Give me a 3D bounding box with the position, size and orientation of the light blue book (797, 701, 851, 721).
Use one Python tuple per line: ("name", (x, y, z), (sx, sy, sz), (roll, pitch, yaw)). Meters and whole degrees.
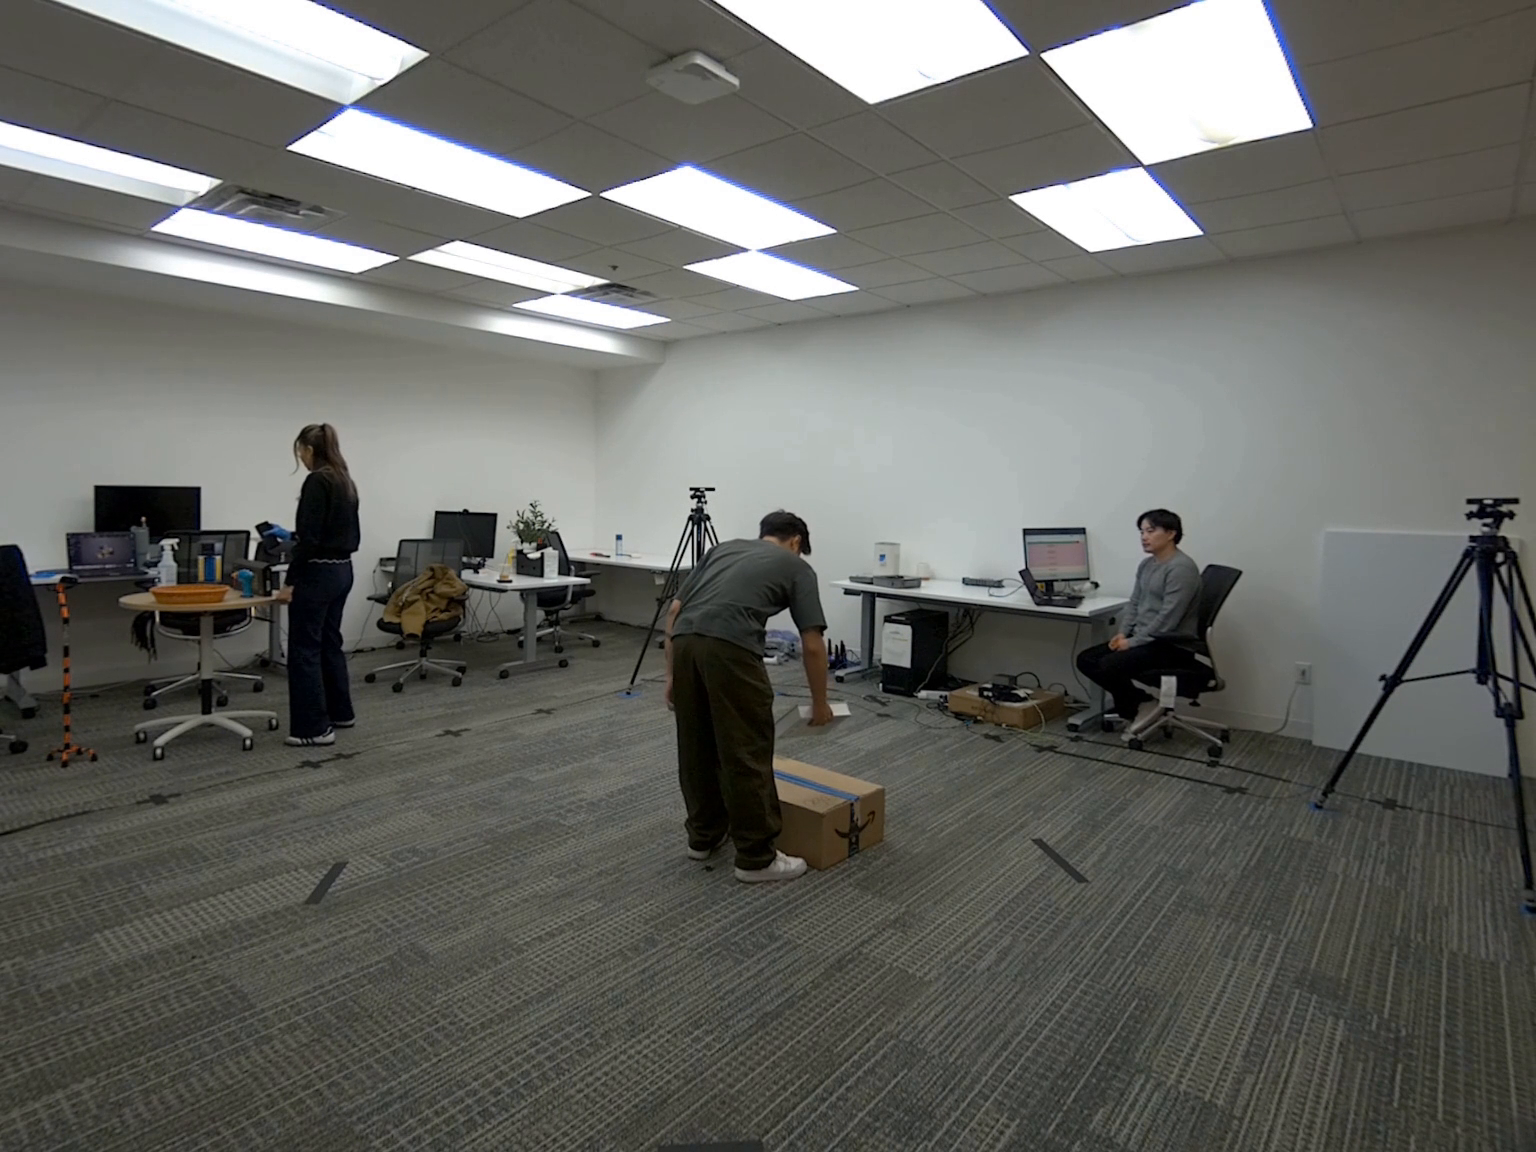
("light blue book", (0.160, 0.564, 3.314), (0.253, 0.061, 0.191), (2, -35, -35))
